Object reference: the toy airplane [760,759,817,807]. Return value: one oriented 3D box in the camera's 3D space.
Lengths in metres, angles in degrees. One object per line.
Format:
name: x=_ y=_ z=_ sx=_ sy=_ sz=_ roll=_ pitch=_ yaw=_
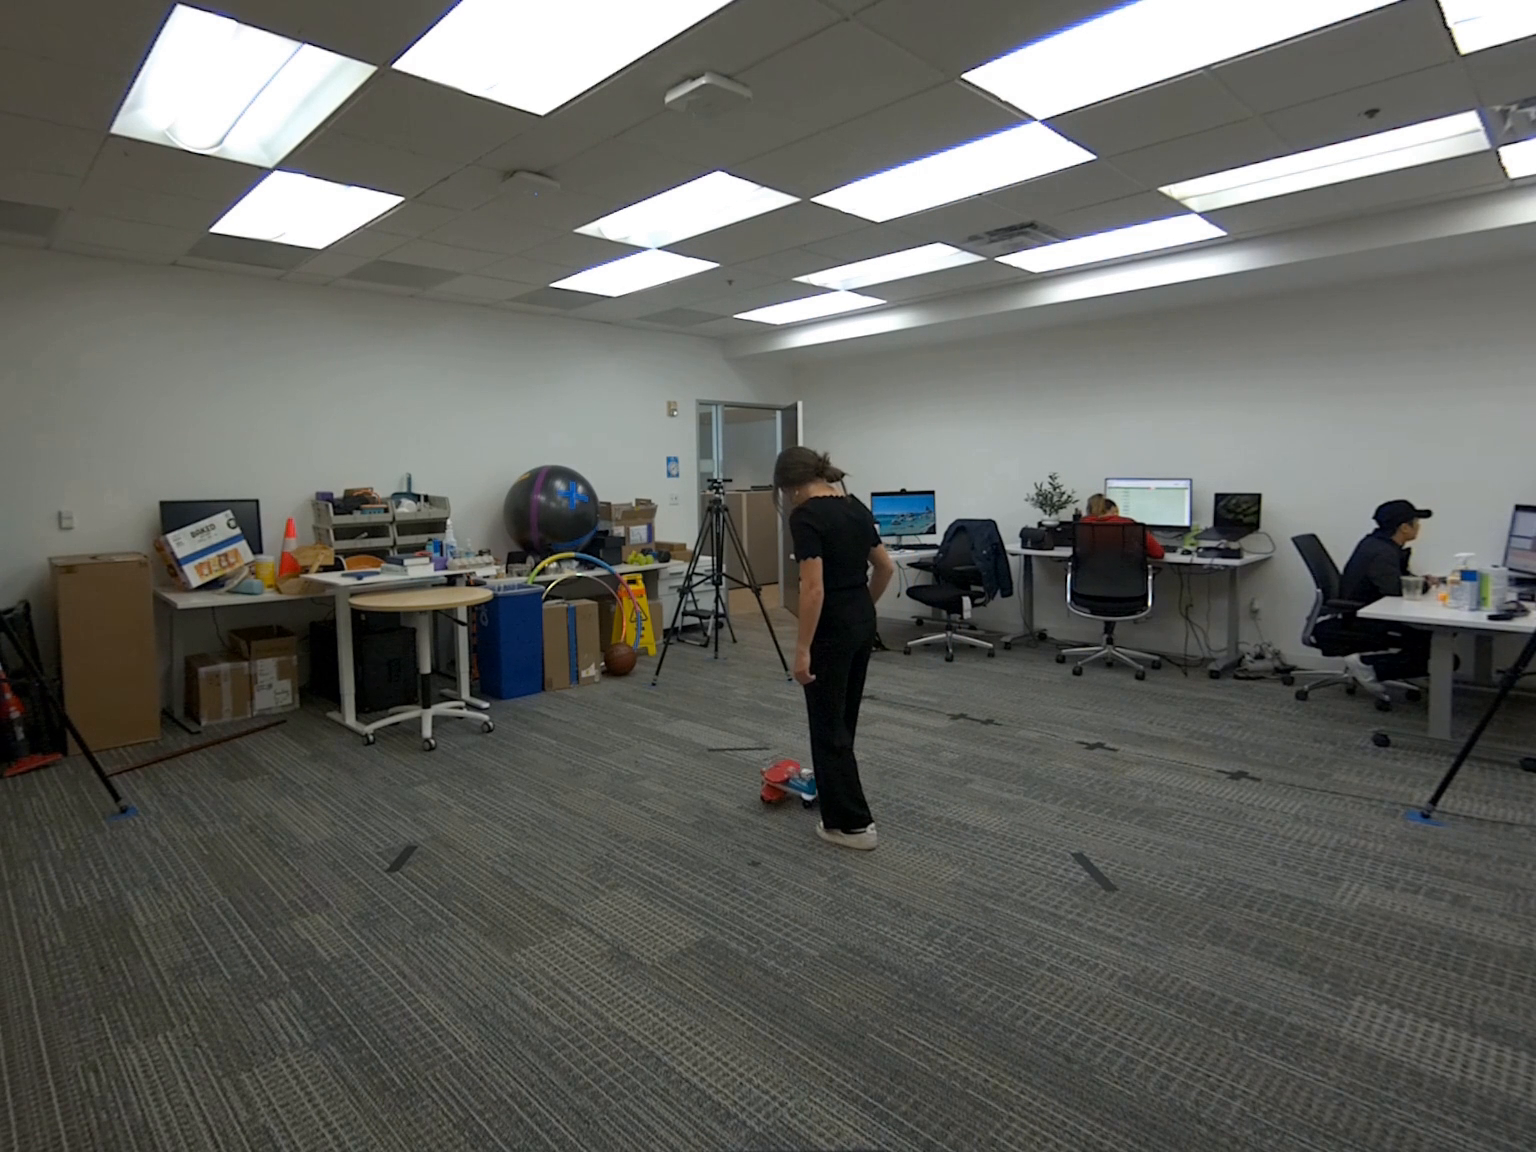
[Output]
toy airplane: x=0.098 y=0.901 z=3.695 sx=0.259 sy=0.156 sz=0.252 roll=-2 pitch=6 yaw=0
